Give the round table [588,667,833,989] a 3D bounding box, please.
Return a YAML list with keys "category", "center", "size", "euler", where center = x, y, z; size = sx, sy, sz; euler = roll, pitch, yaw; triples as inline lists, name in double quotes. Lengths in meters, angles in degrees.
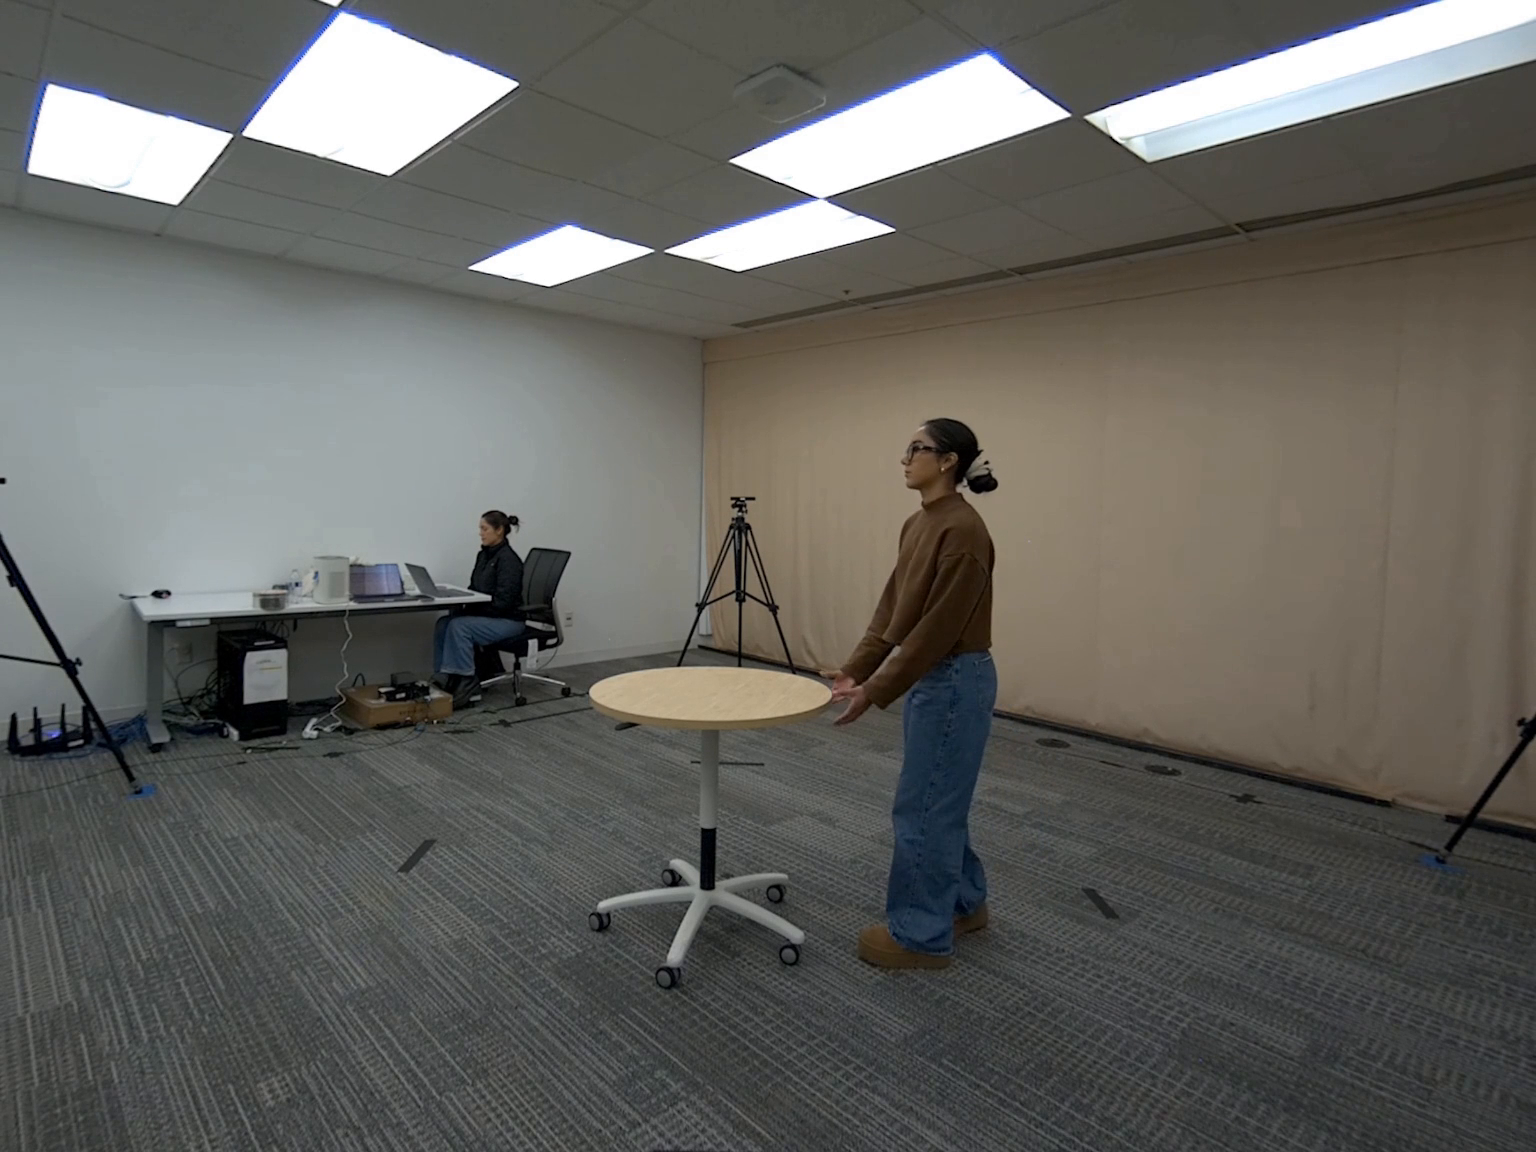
- category: "round table"
  center: [-0.196, 0.753, 2.696]
  size: [0.763, 0.792, 0.766]
  euler: [1, 4, -1]
